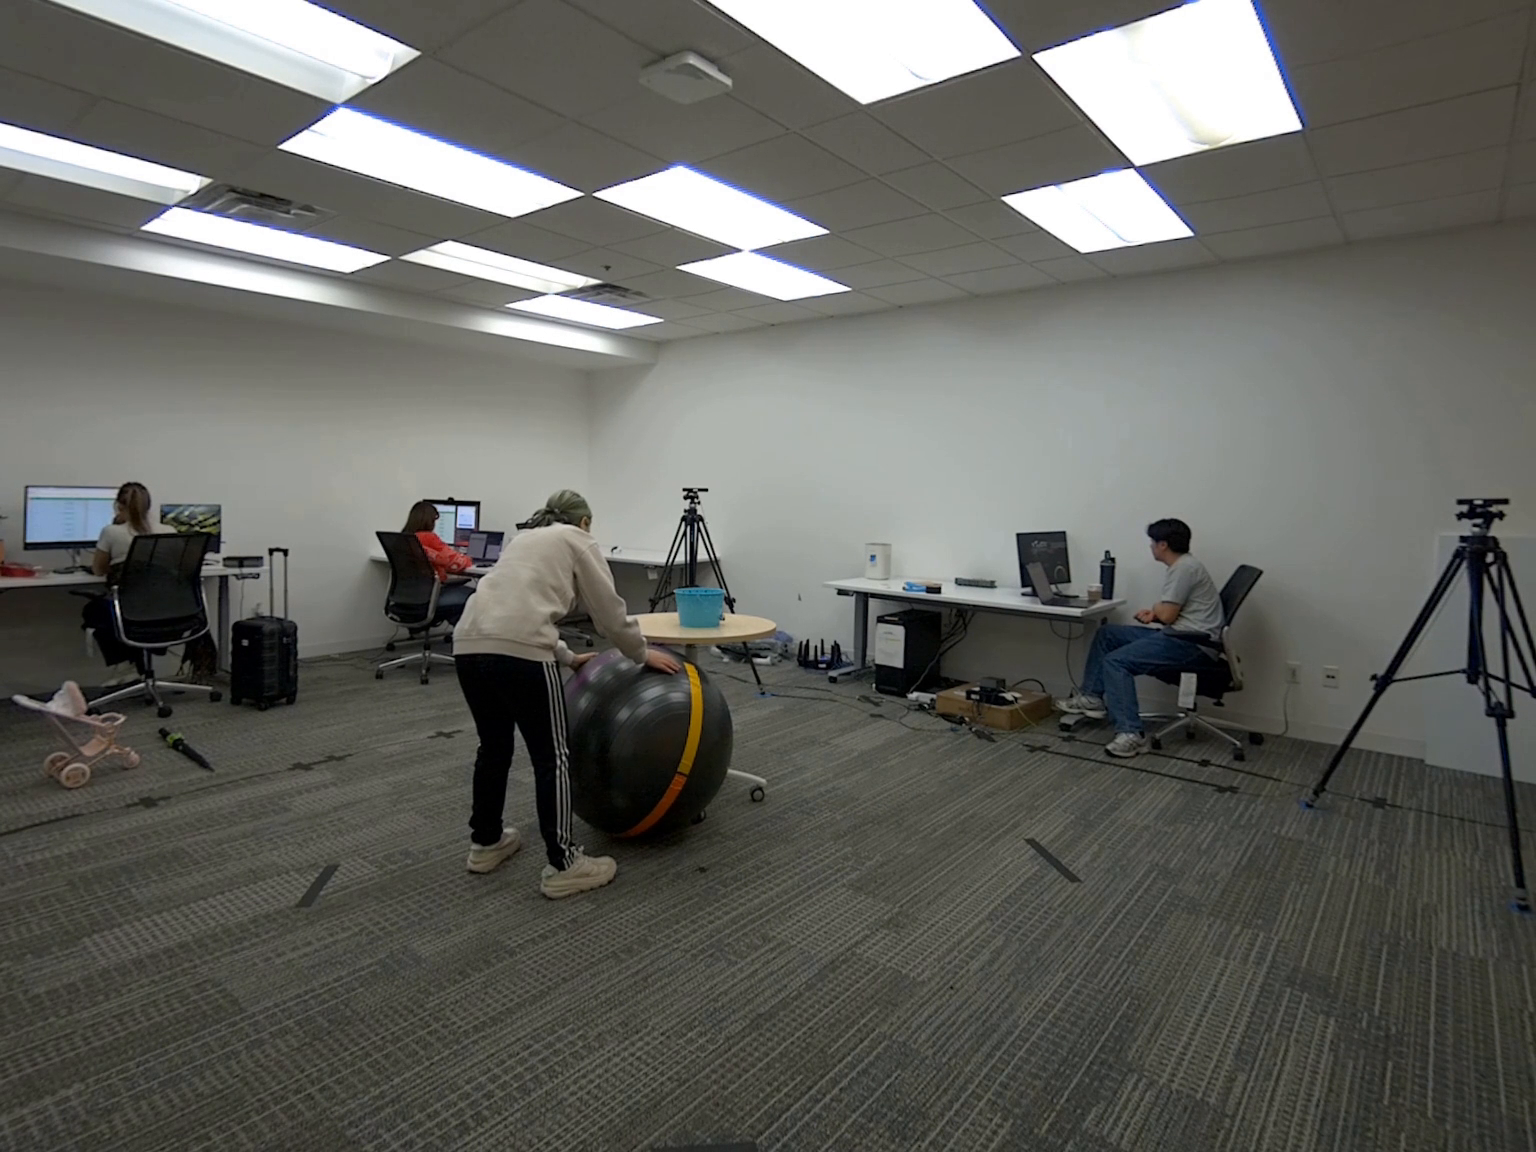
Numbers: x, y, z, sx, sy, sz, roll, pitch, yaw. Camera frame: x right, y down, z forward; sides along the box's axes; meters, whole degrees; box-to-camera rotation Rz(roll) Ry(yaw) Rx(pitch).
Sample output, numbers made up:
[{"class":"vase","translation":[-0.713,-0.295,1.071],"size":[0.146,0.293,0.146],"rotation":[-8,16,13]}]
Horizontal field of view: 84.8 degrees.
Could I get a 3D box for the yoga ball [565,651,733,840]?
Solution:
[{"class":"yoga ball","translation":[-0.529,0.660,3.441],"size":[0.757,0.756,0.761],"rotation":[1,4,-2]}]
